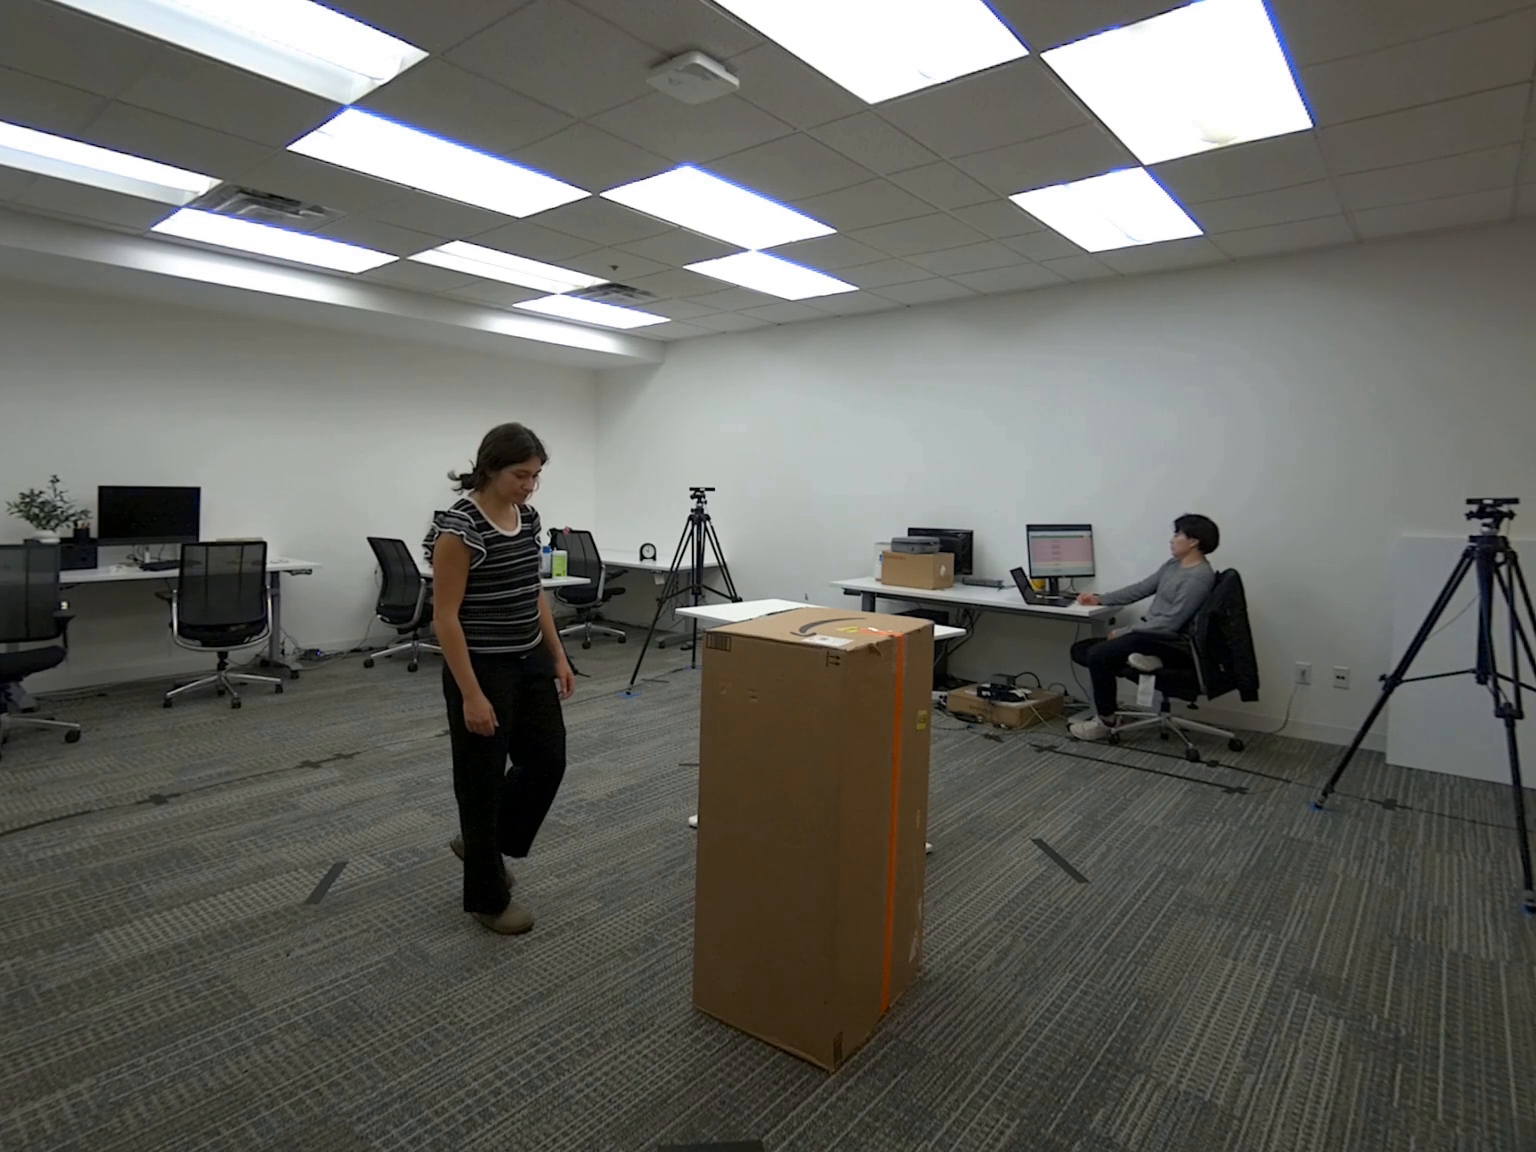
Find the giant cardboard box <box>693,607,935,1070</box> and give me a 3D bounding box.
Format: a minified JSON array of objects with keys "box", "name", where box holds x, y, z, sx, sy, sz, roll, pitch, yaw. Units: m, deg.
[{"box":[0.134,0.641,2.351,0.440,1.023,0.561,4,4,33],"name":"giant cardboard box"}]
